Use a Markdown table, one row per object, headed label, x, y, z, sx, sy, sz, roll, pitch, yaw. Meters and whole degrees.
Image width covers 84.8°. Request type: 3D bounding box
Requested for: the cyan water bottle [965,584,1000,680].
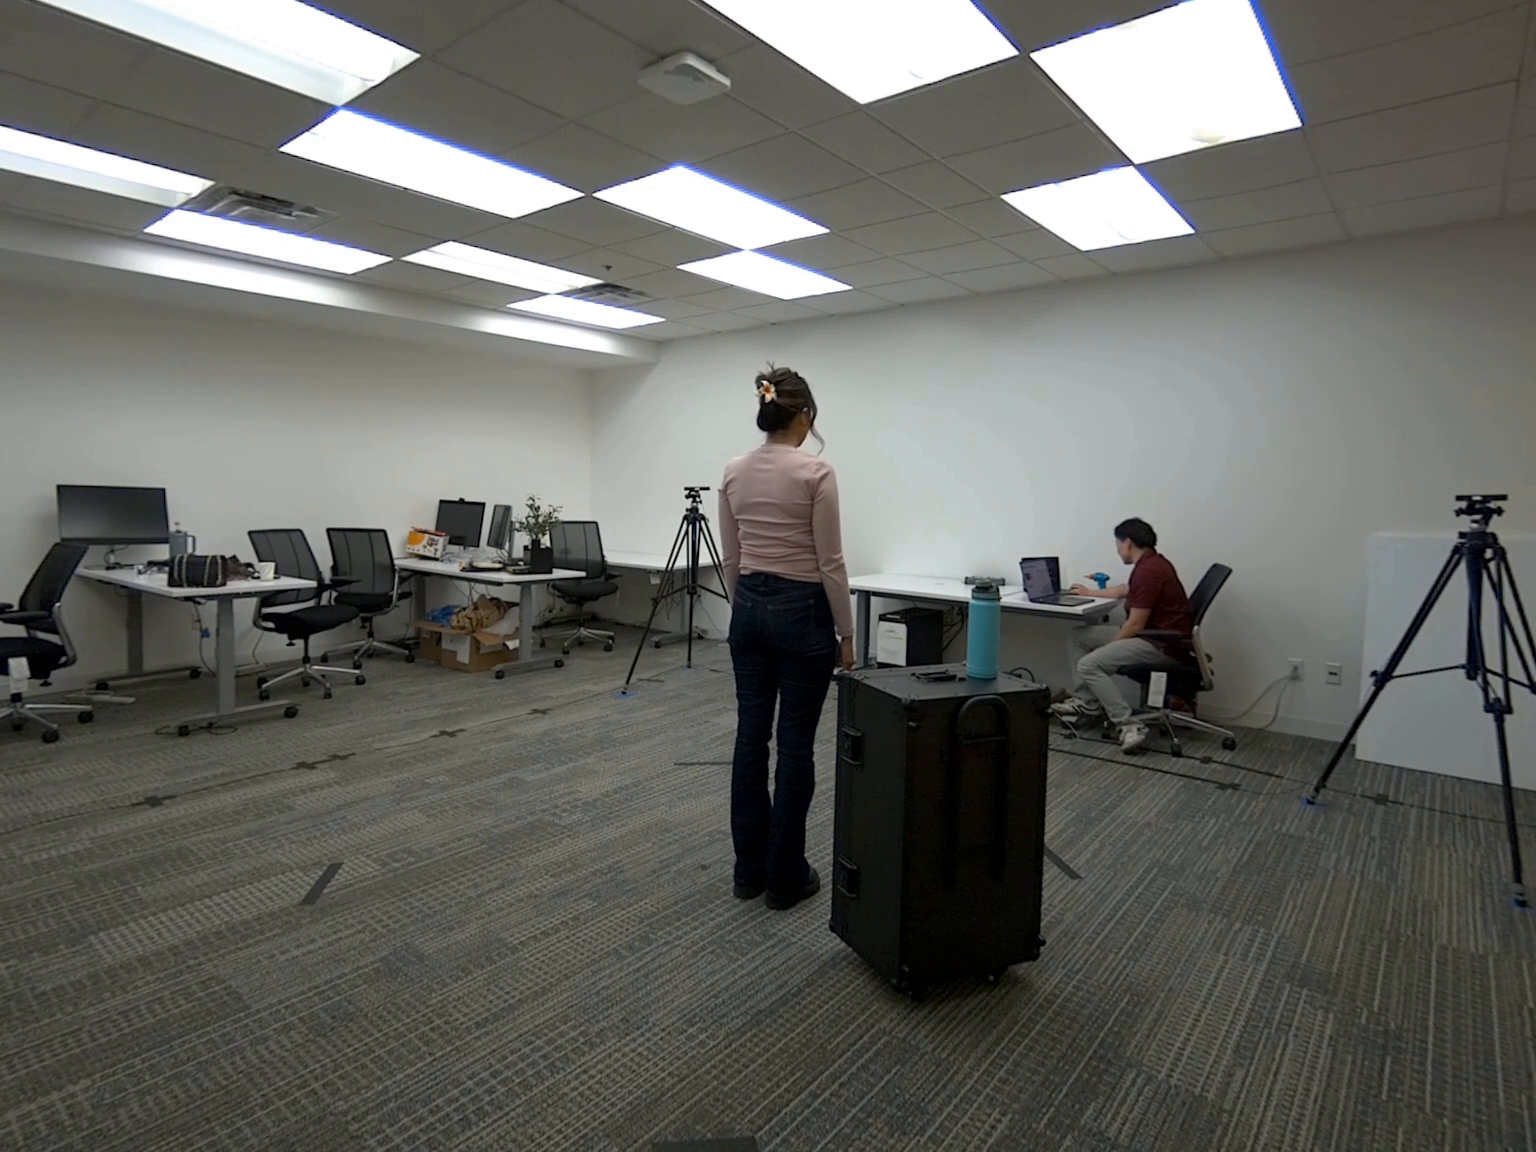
| label | x | y | z | sx | sy | sz | roll | pitch | yaw |
| --- | --- | --- | --- | --- | --- | --- | --- | --- | --- |
| cyan water bottle | 0.639 | 0.151 | 2.513 | 0.092 | 0.283 | 0.092 | 1 | 2 | -2 |
